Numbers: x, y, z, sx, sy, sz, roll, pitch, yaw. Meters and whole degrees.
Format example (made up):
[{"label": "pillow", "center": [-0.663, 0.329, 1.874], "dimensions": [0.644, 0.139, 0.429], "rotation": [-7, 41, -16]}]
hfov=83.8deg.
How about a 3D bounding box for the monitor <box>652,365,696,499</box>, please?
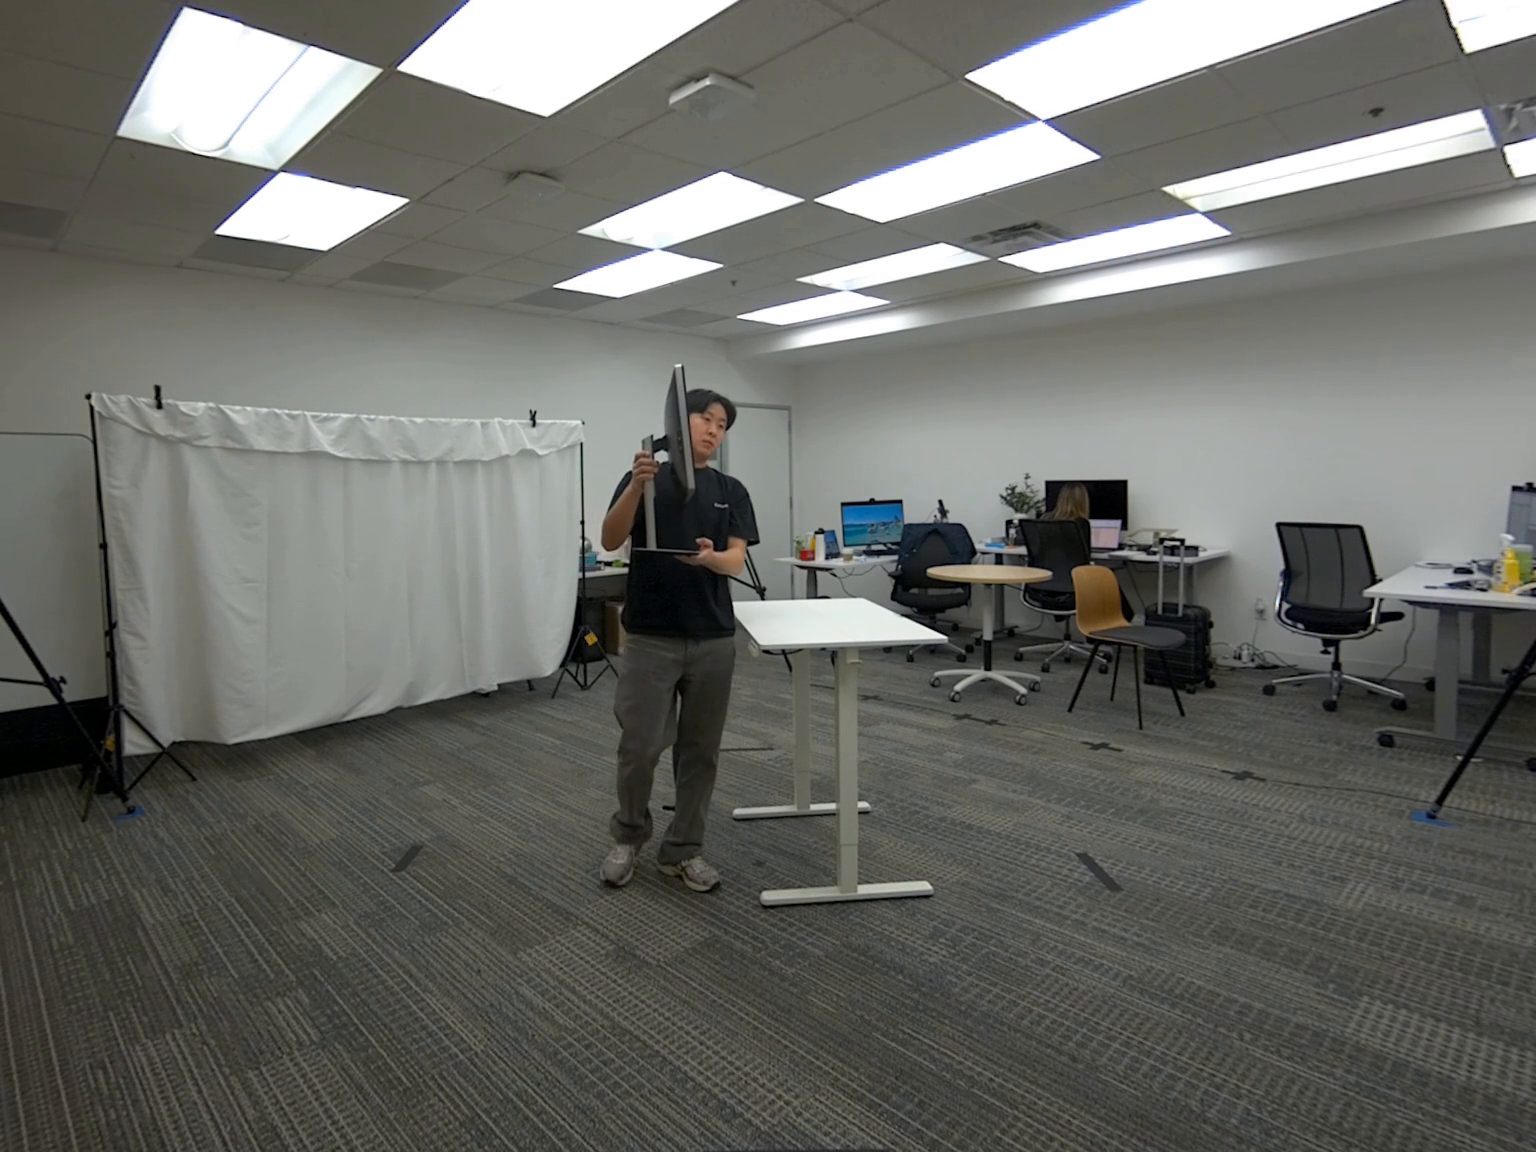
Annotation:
[{"label": "monitor", "center": [-0.304, -0.326, 2.690], "dimensions": [0.221, 0.566, 0.563], "rotation": [7, -1, -4]}]
